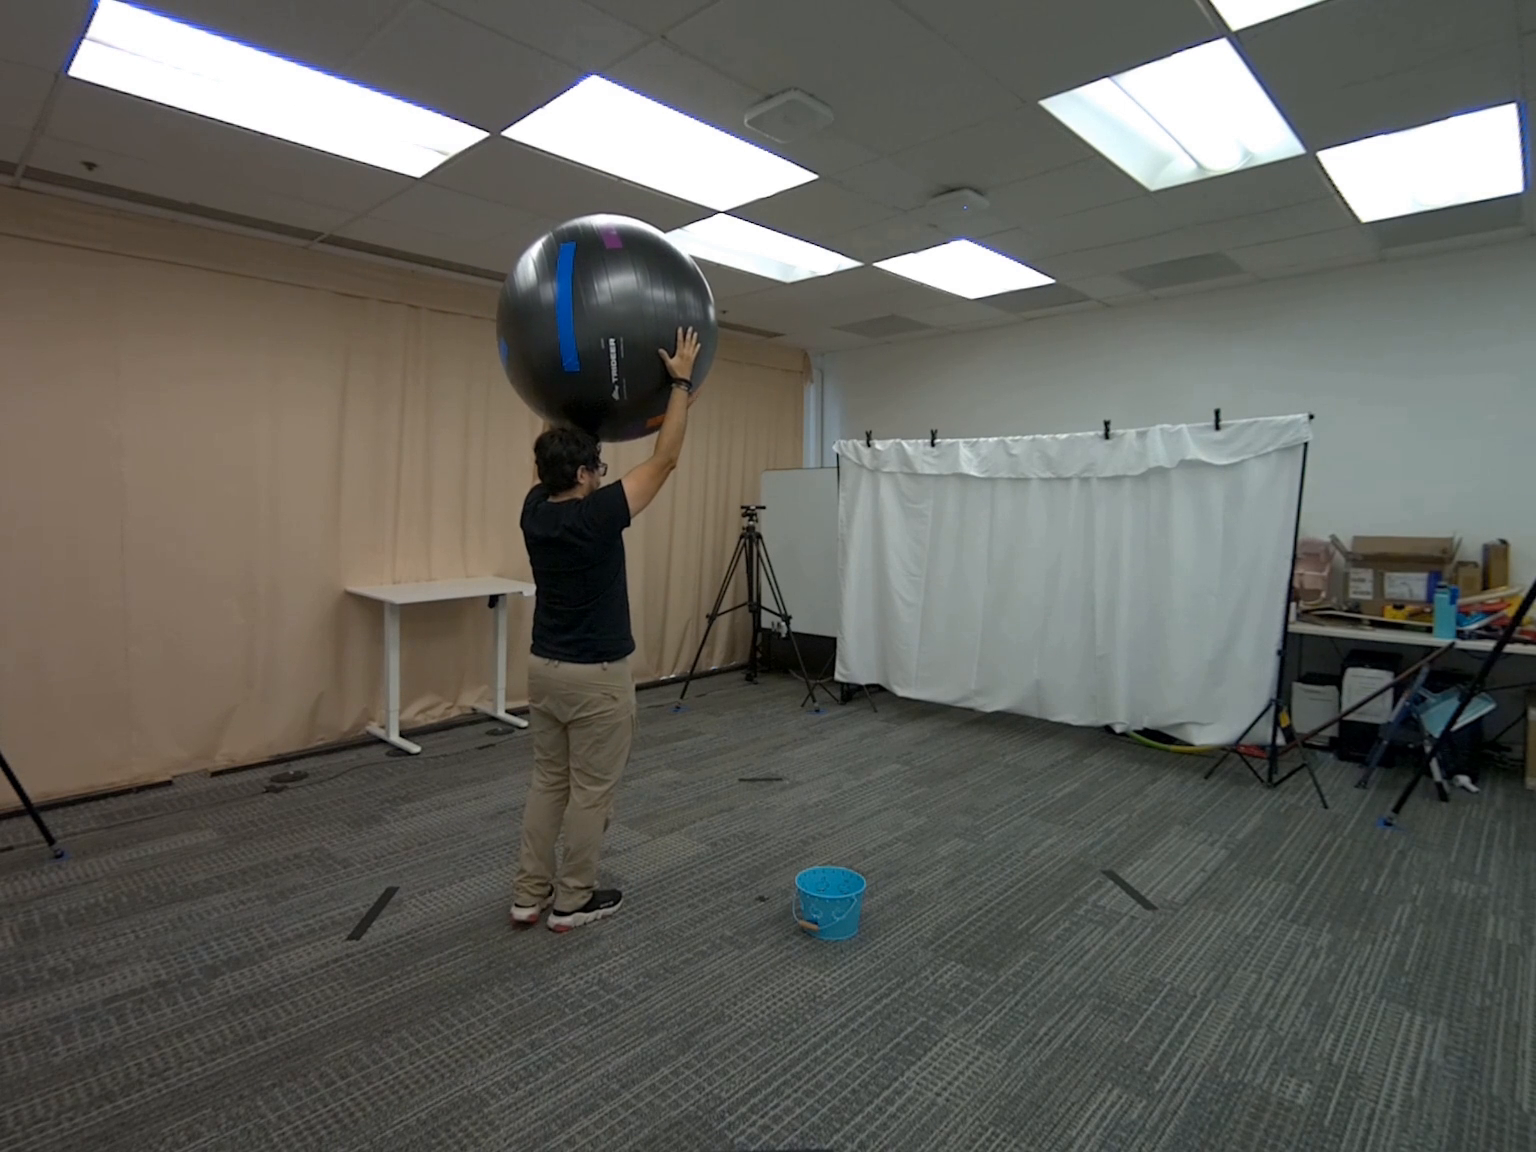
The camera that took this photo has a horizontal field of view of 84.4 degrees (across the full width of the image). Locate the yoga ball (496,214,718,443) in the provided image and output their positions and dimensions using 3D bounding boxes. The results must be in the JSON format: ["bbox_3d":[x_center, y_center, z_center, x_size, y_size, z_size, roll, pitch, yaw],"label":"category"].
[{"bbox_3d":[-0.549,-0.841,2.922,0.757,0.756,0.761,0,4,-2],"label":"yoga ball"}]
